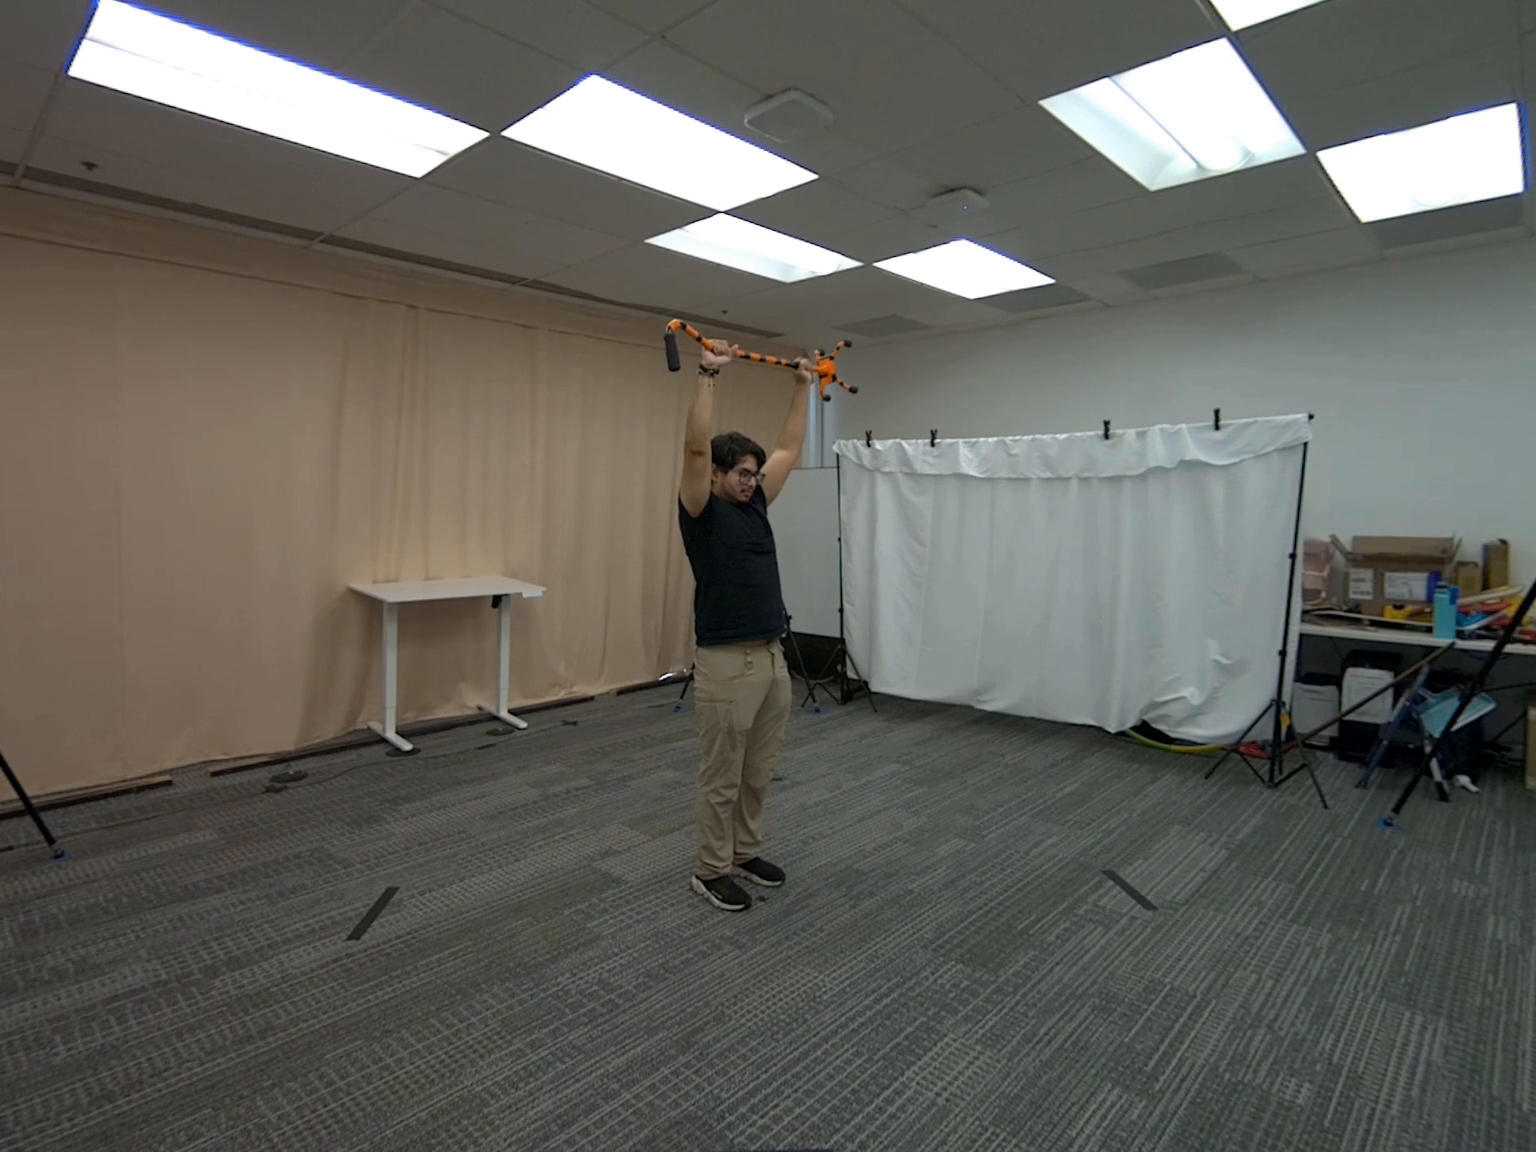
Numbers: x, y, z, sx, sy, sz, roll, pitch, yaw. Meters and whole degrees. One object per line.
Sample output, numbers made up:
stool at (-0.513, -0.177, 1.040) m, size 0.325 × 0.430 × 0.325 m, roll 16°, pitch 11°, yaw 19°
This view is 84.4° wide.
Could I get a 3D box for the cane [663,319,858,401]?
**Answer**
cane at (-0.010, -0.742, 2.850) m, size 0.156 × 0.207 × 0.881 m, roll -10°, pitch -3°, yaw 40°
